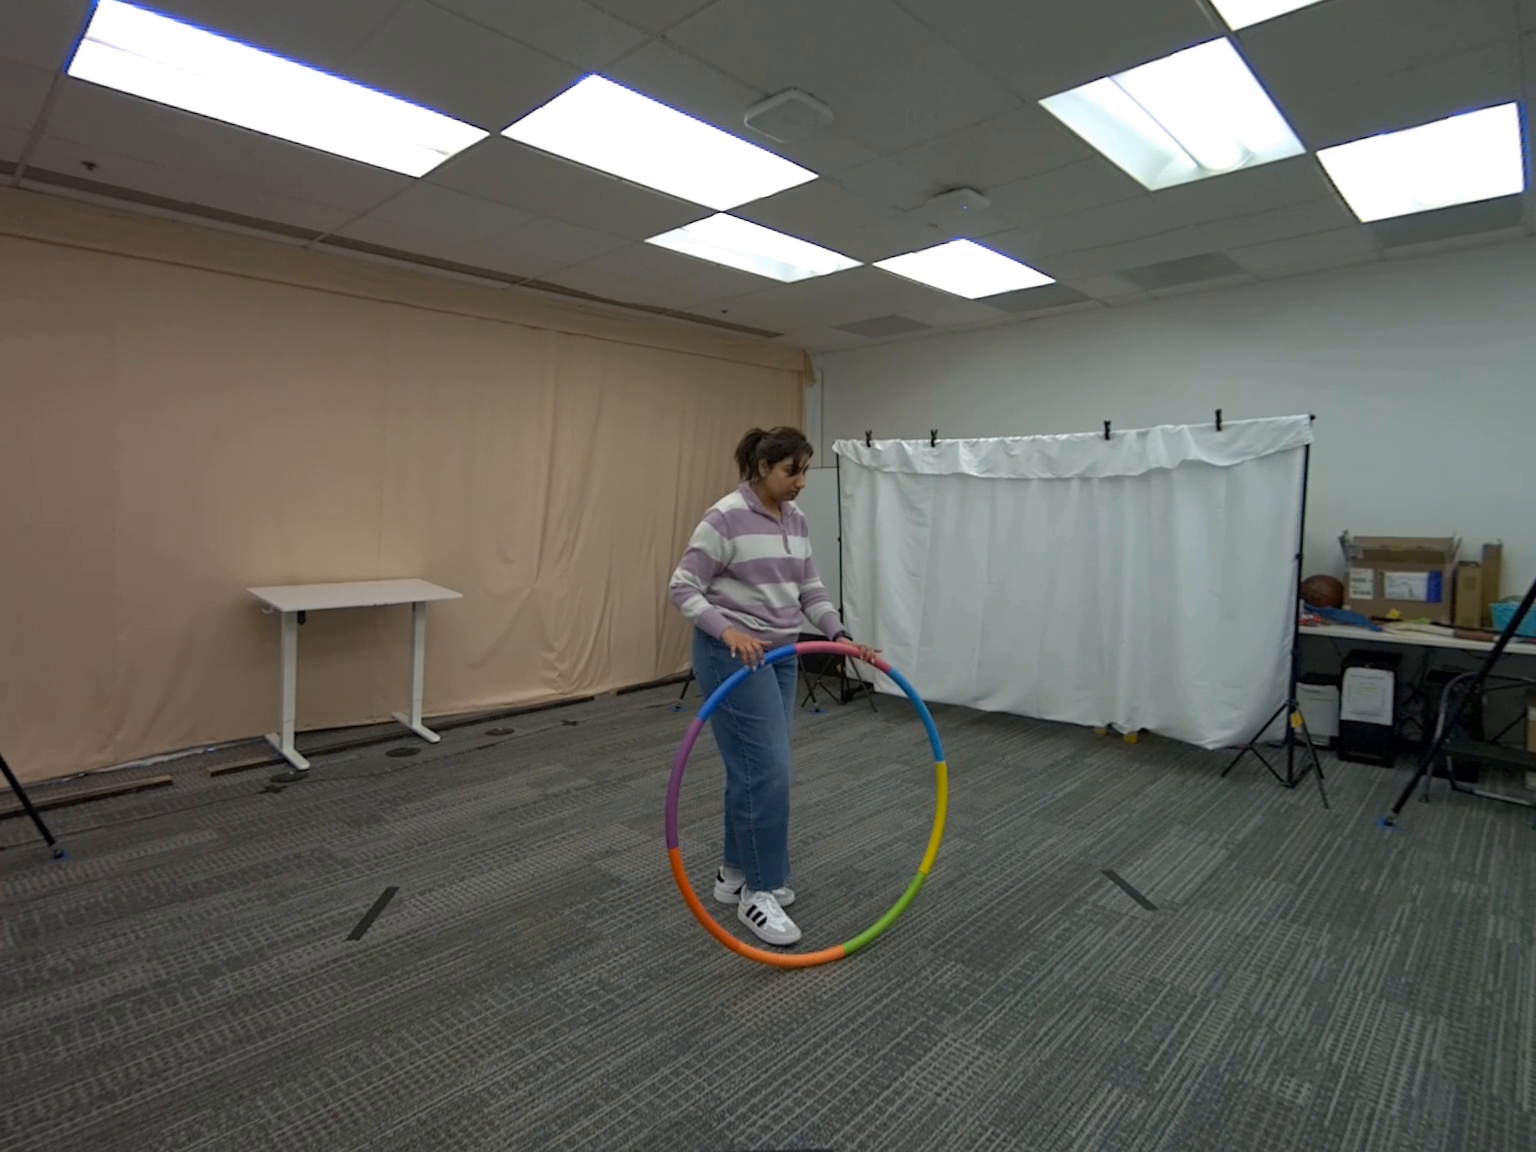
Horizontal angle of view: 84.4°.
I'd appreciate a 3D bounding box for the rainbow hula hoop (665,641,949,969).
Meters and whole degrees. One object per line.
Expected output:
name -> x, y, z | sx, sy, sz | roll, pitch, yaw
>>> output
rainbow hula hoop -> 0.156, 0.697, 2.585 | 0.963, 0.986, 0.053 | -2, -2, -24
